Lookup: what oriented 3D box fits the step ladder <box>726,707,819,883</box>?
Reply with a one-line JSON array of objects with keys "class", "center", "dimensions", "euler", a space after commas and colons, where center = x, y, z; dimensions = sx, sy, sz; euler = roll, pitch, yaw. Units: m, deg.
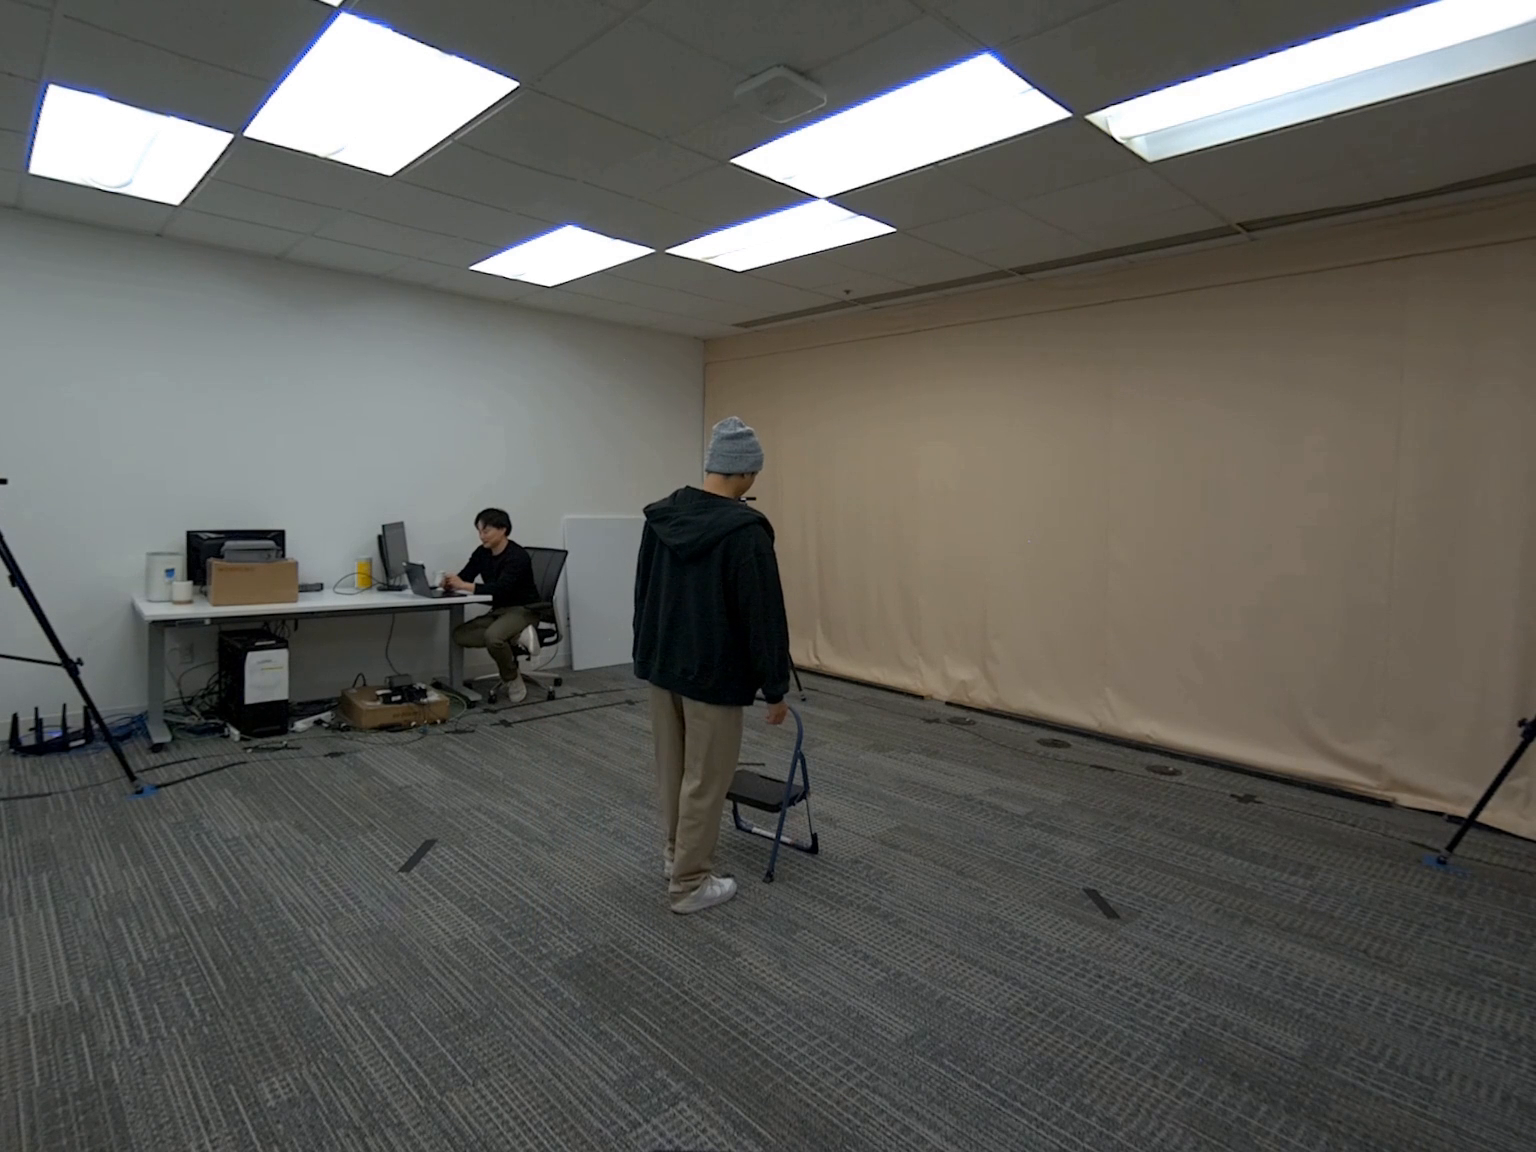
[{"class": "step ladder", "center": [-0.059, 0.788, 3.305], "dimensions": [0.441, 0.605, 0.341], "euler": [4, 4, 38]}]
